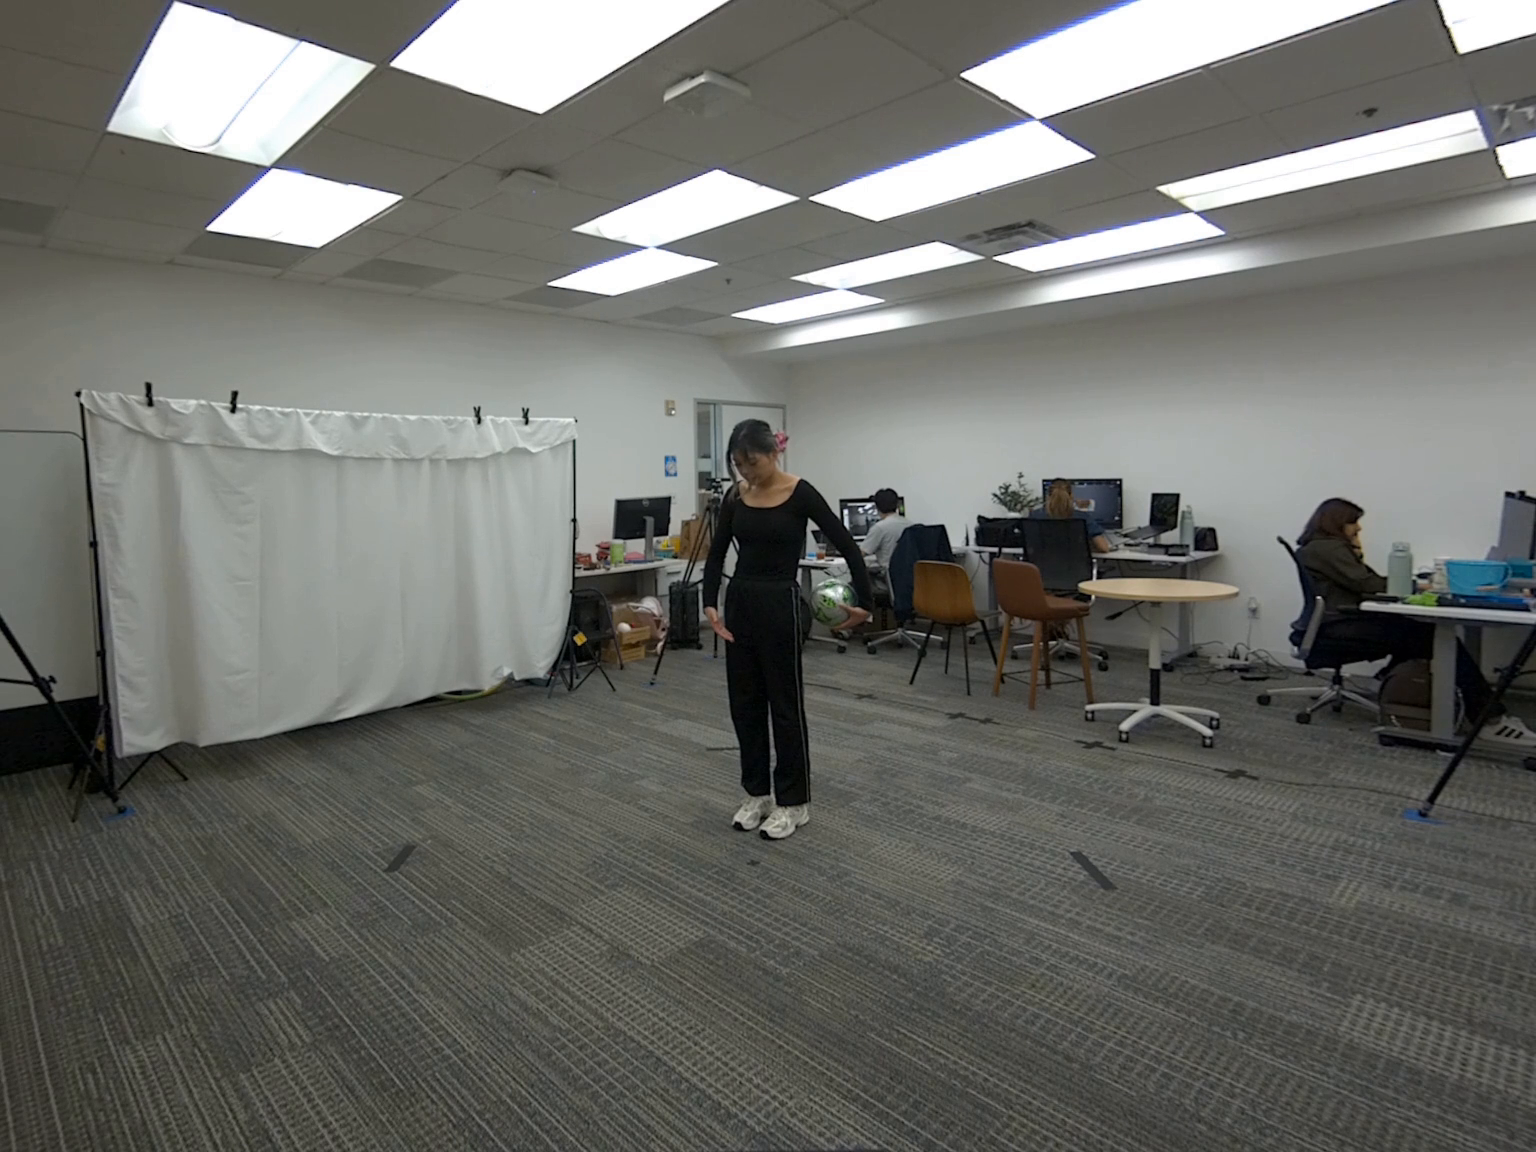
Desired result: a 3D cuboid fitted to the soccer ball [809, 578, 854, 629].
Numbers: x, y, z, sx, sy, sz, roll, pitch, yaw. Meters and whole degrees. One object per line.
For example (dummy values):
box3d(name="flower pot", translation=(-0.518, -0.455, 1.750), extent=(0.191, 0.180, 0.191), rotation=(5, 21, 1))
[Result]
box3d(name="soccer ball", translation=(0.245, 0.101, 3.301), extent=(0.187, 0.187, 0.188), rotation=(-1, 5, -2))
